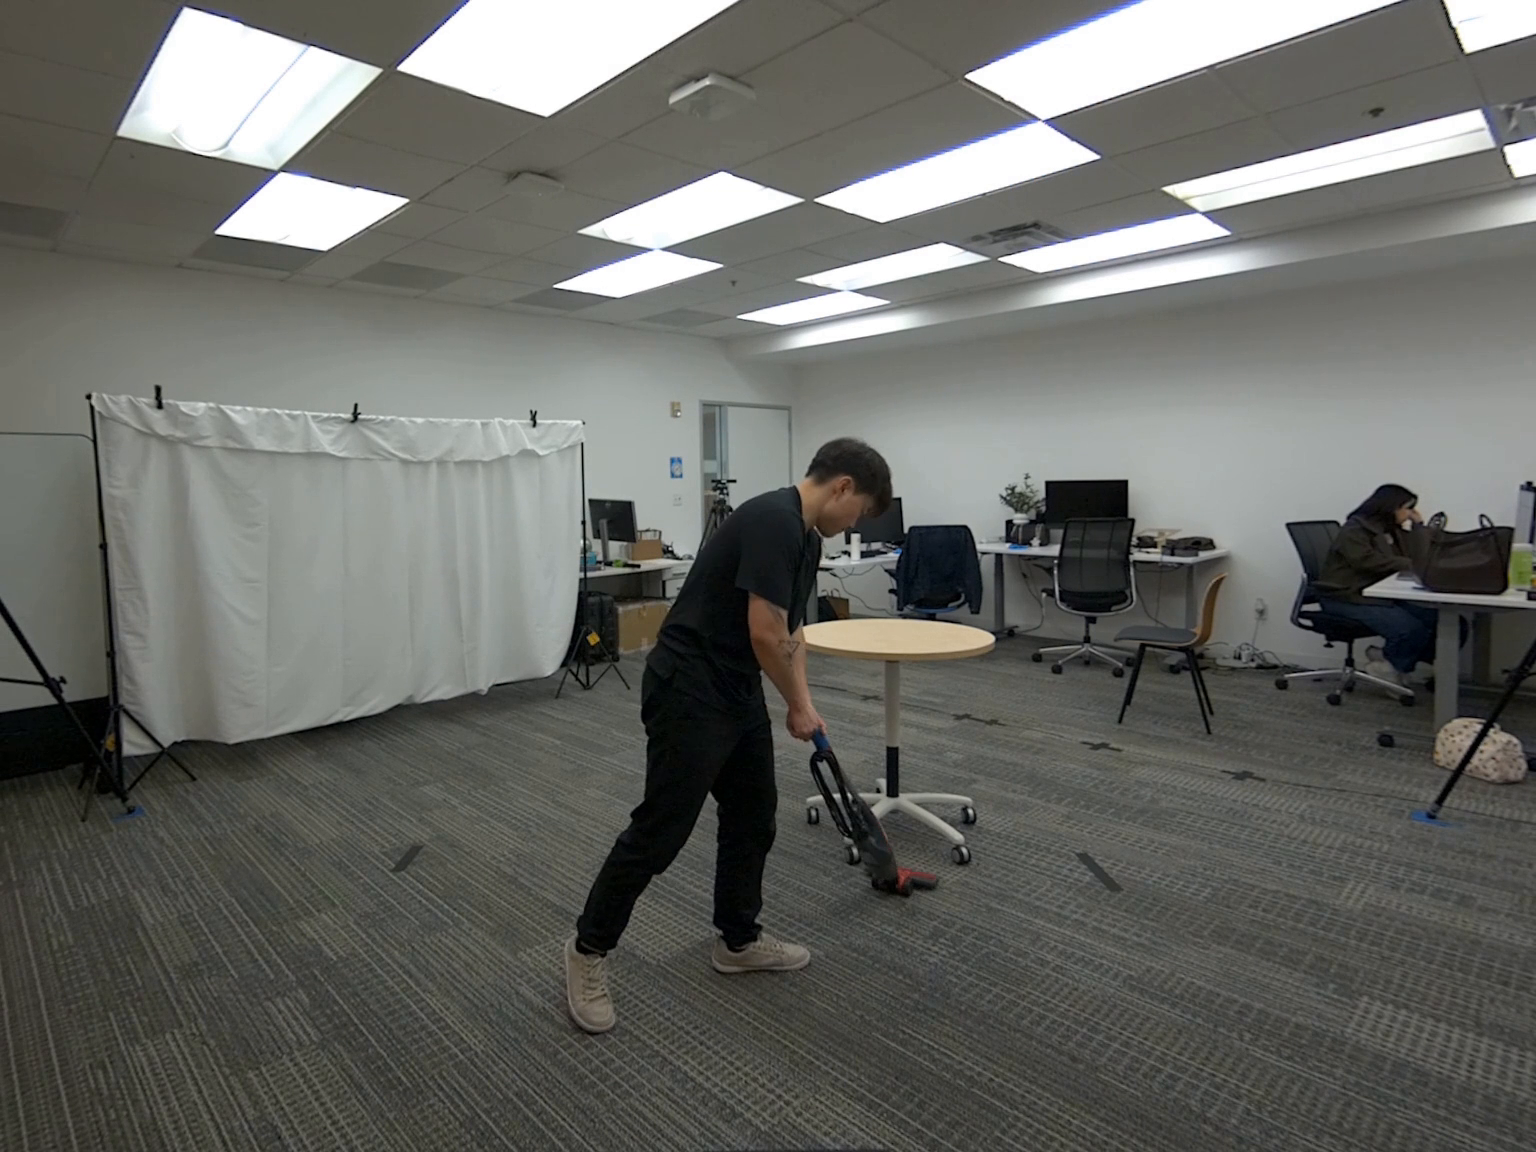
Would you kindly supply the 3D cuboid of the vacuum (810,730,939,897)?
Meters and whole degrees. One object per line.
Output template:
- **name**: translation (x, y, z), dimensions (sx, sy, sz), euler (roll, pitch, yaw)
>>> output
- **vacuum**: translation (0.259, 0.720, 2.589), dimensions (0.259, 0.146, 1.010), euler (1, -39, 30)
